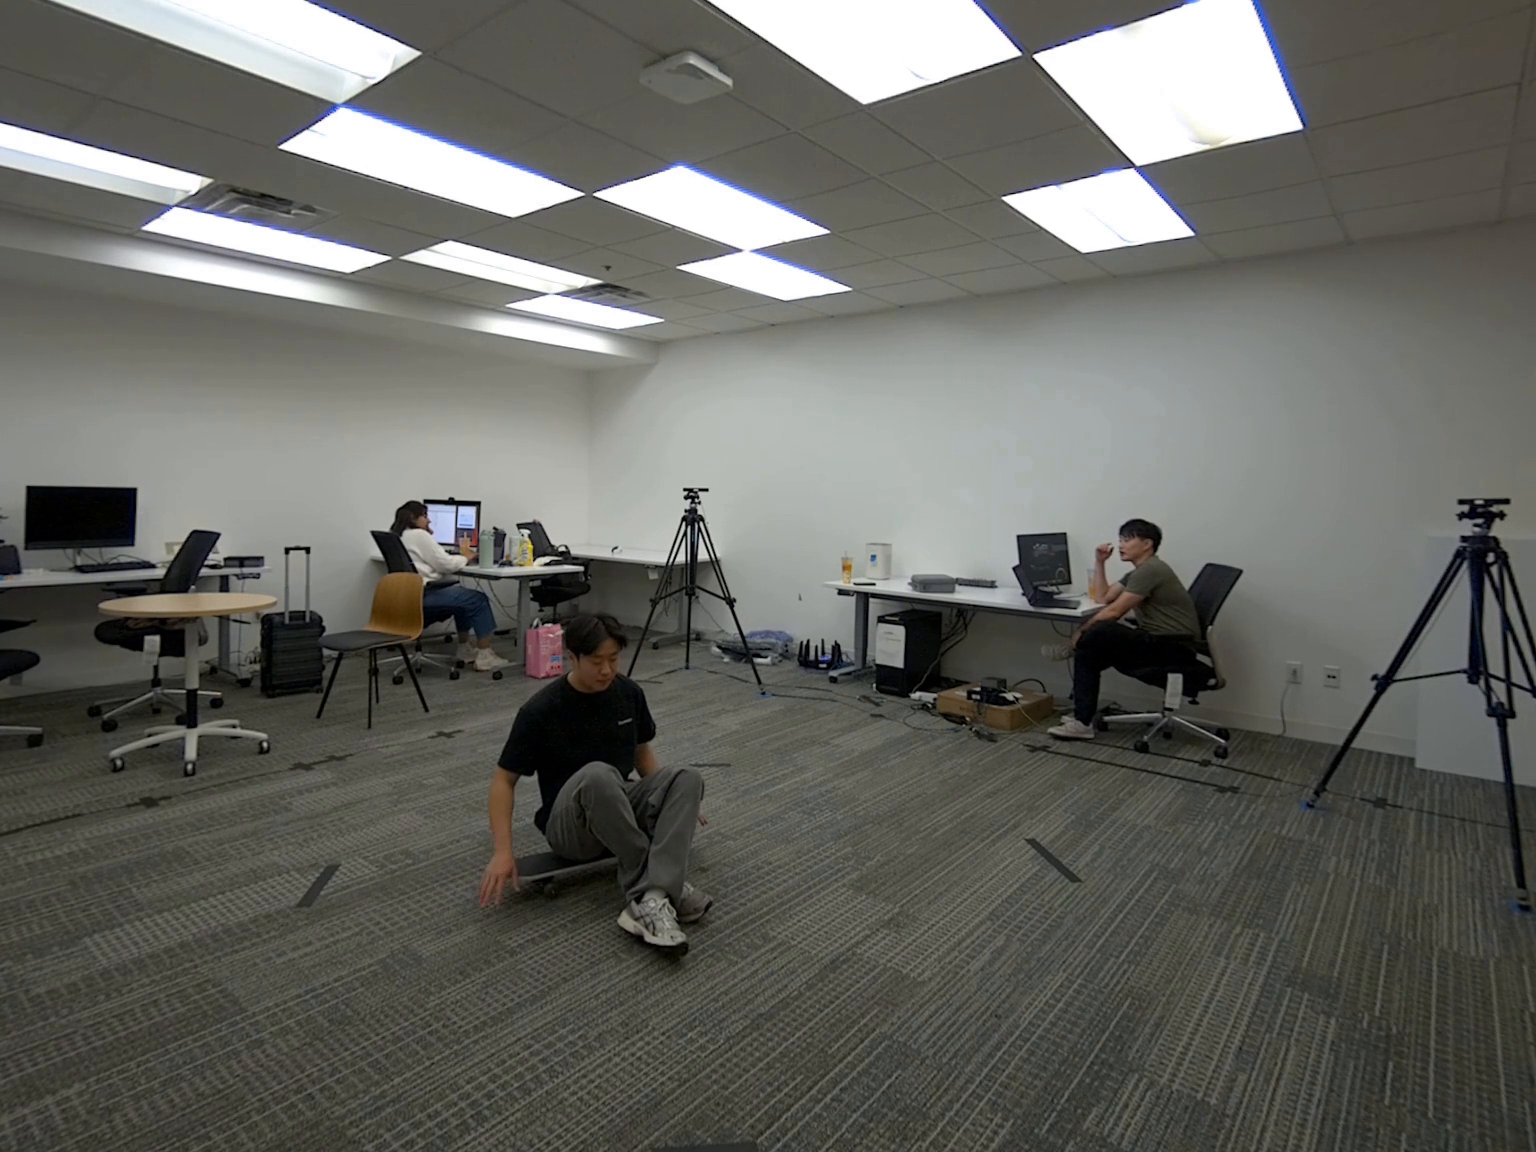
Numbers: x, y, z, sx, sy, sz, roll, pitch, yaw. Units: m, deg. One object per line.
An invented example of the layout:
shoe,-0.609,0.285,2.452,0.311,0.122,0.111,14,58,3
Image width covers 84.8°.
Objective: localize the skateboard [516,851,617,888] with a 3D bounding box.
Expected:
skateboard,-0.617,1.018,3.049,0.764,0.110,0.199,-2,0,-33
